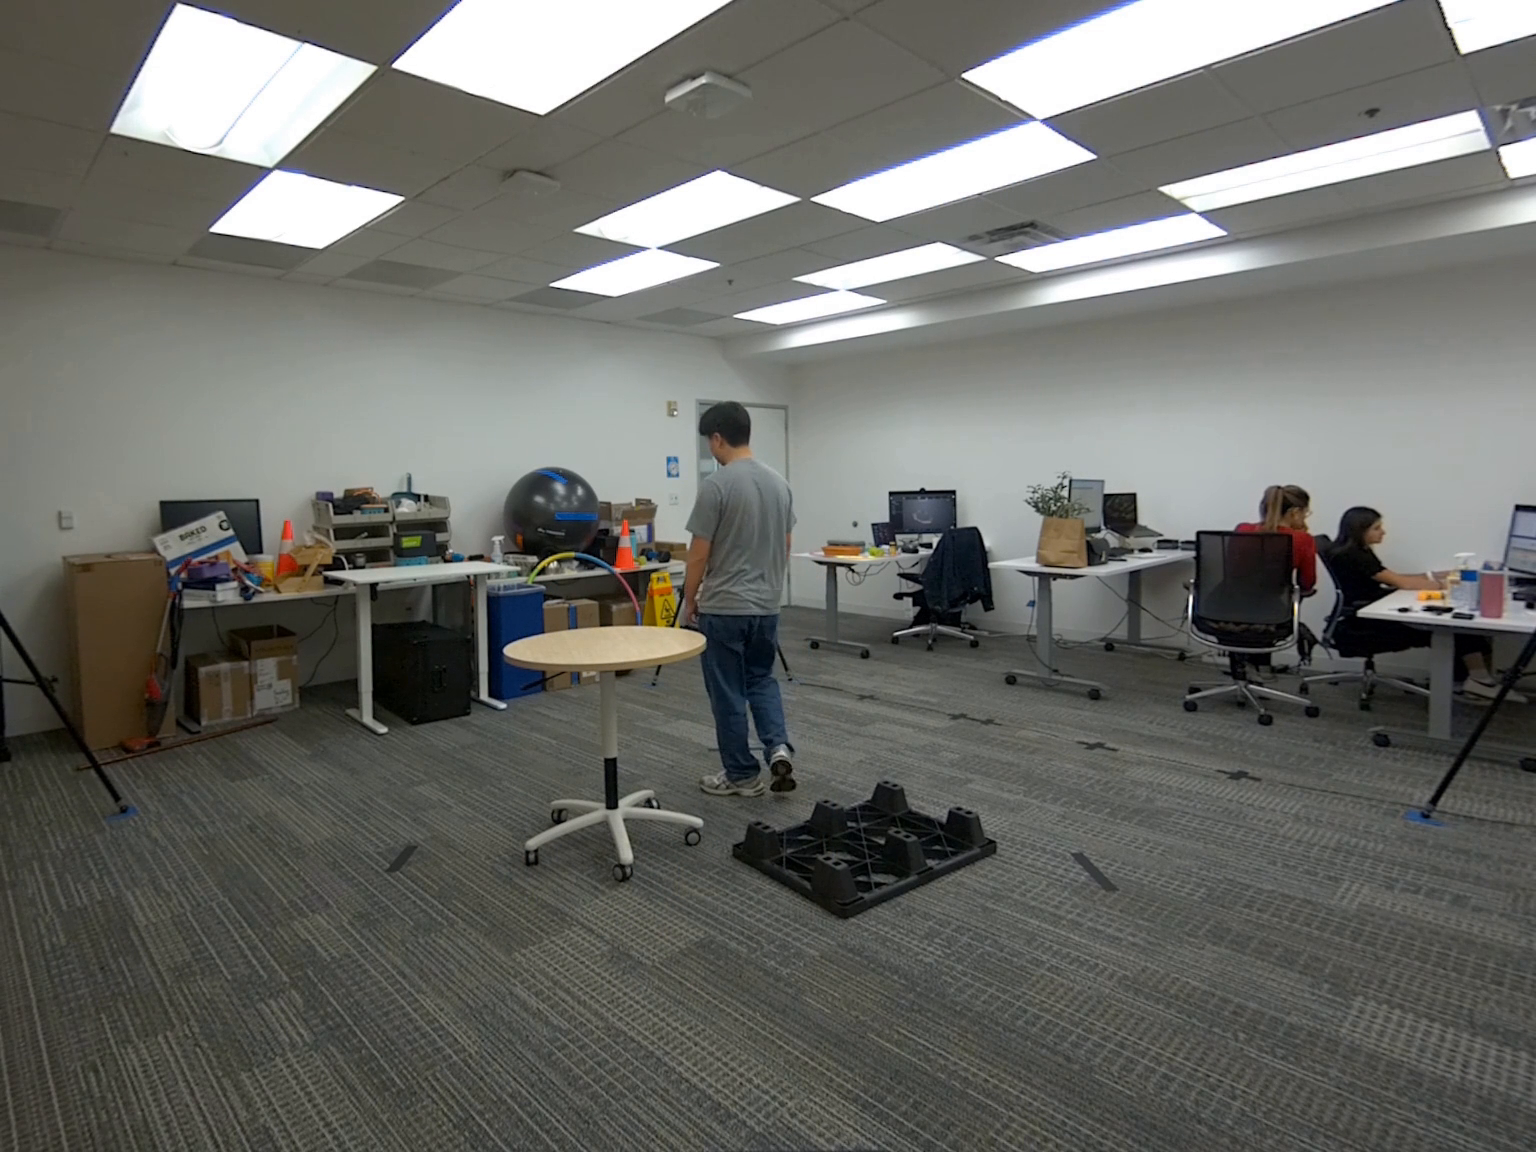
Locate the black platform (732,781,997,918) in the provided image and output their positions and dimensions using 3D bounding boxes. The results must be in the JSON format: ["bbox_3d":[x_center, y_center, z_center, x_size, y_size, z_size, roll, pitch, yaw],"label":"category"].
[{"bbox_3d":[0.359,0.966,3.169,0.785,0.142,0.624,-6,8,-38],"label":"black platform"}]
